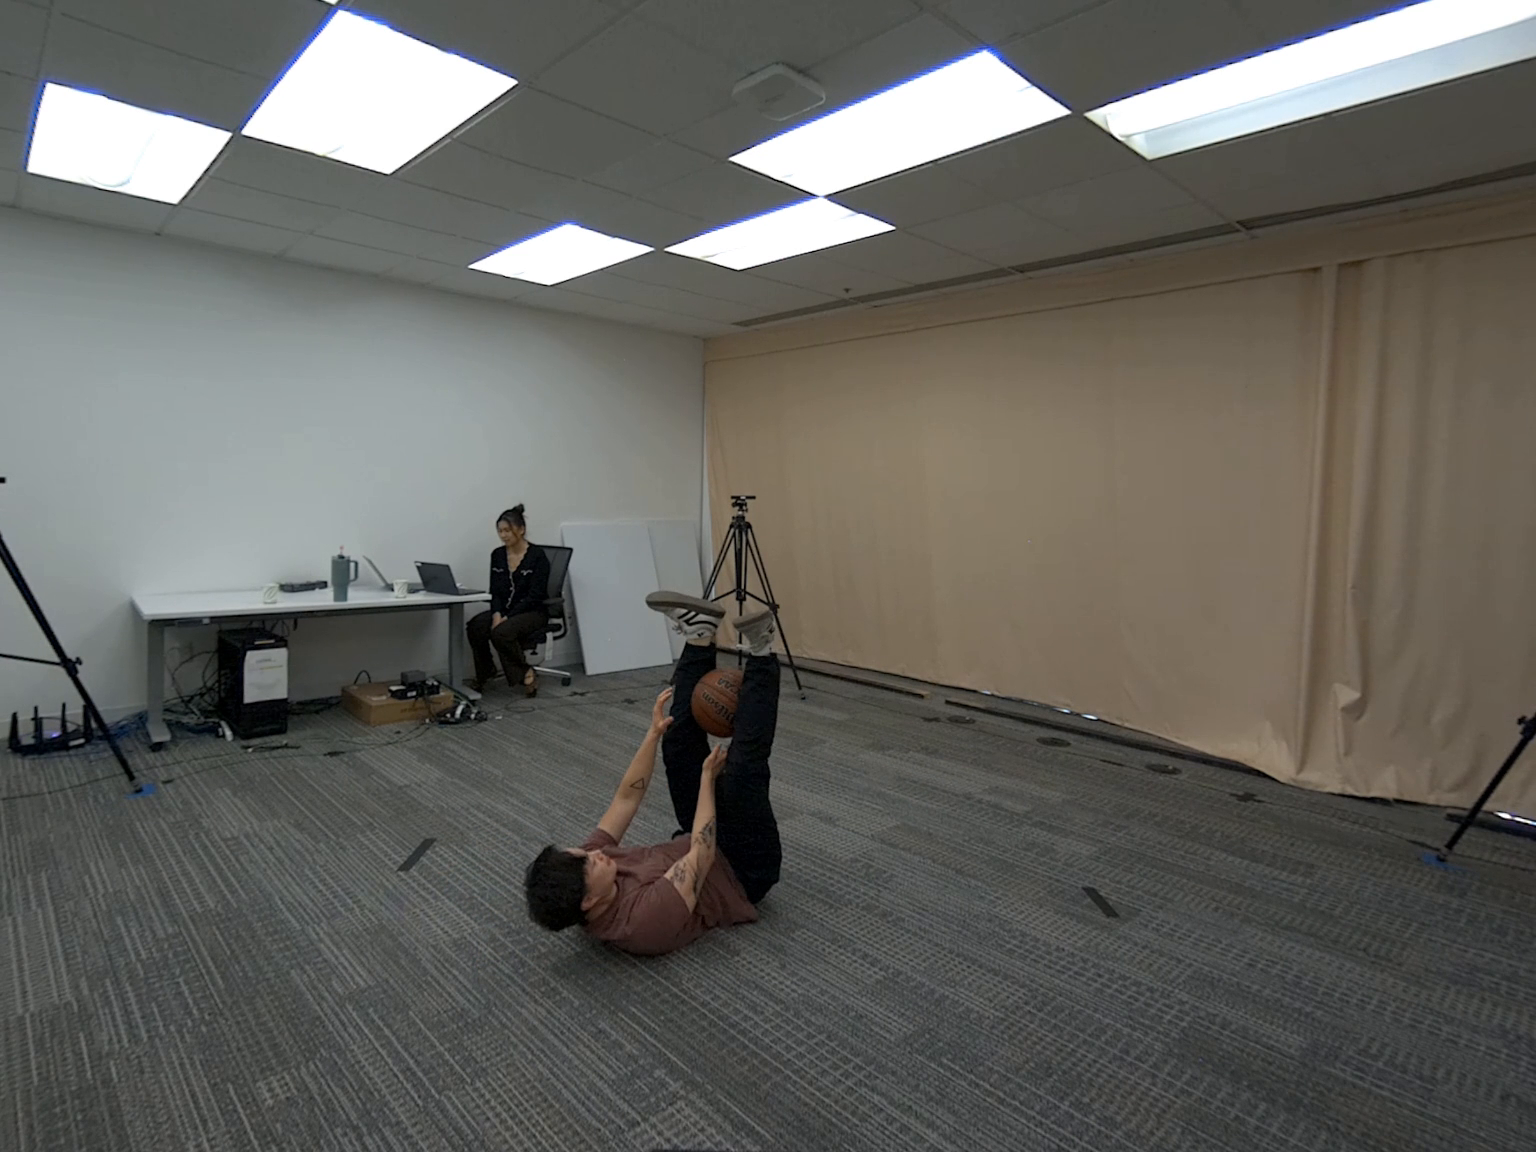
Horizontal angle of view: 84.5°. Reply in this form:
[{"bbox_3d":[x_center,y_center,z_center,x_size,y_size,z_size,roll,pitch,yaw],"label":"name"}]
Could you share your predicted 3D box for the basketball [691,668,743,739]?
[{"bbox_3d":[-0.144,0.435,2.880,0.236,0.235,0.237,2,4,-2],"label":"basketball"}]
